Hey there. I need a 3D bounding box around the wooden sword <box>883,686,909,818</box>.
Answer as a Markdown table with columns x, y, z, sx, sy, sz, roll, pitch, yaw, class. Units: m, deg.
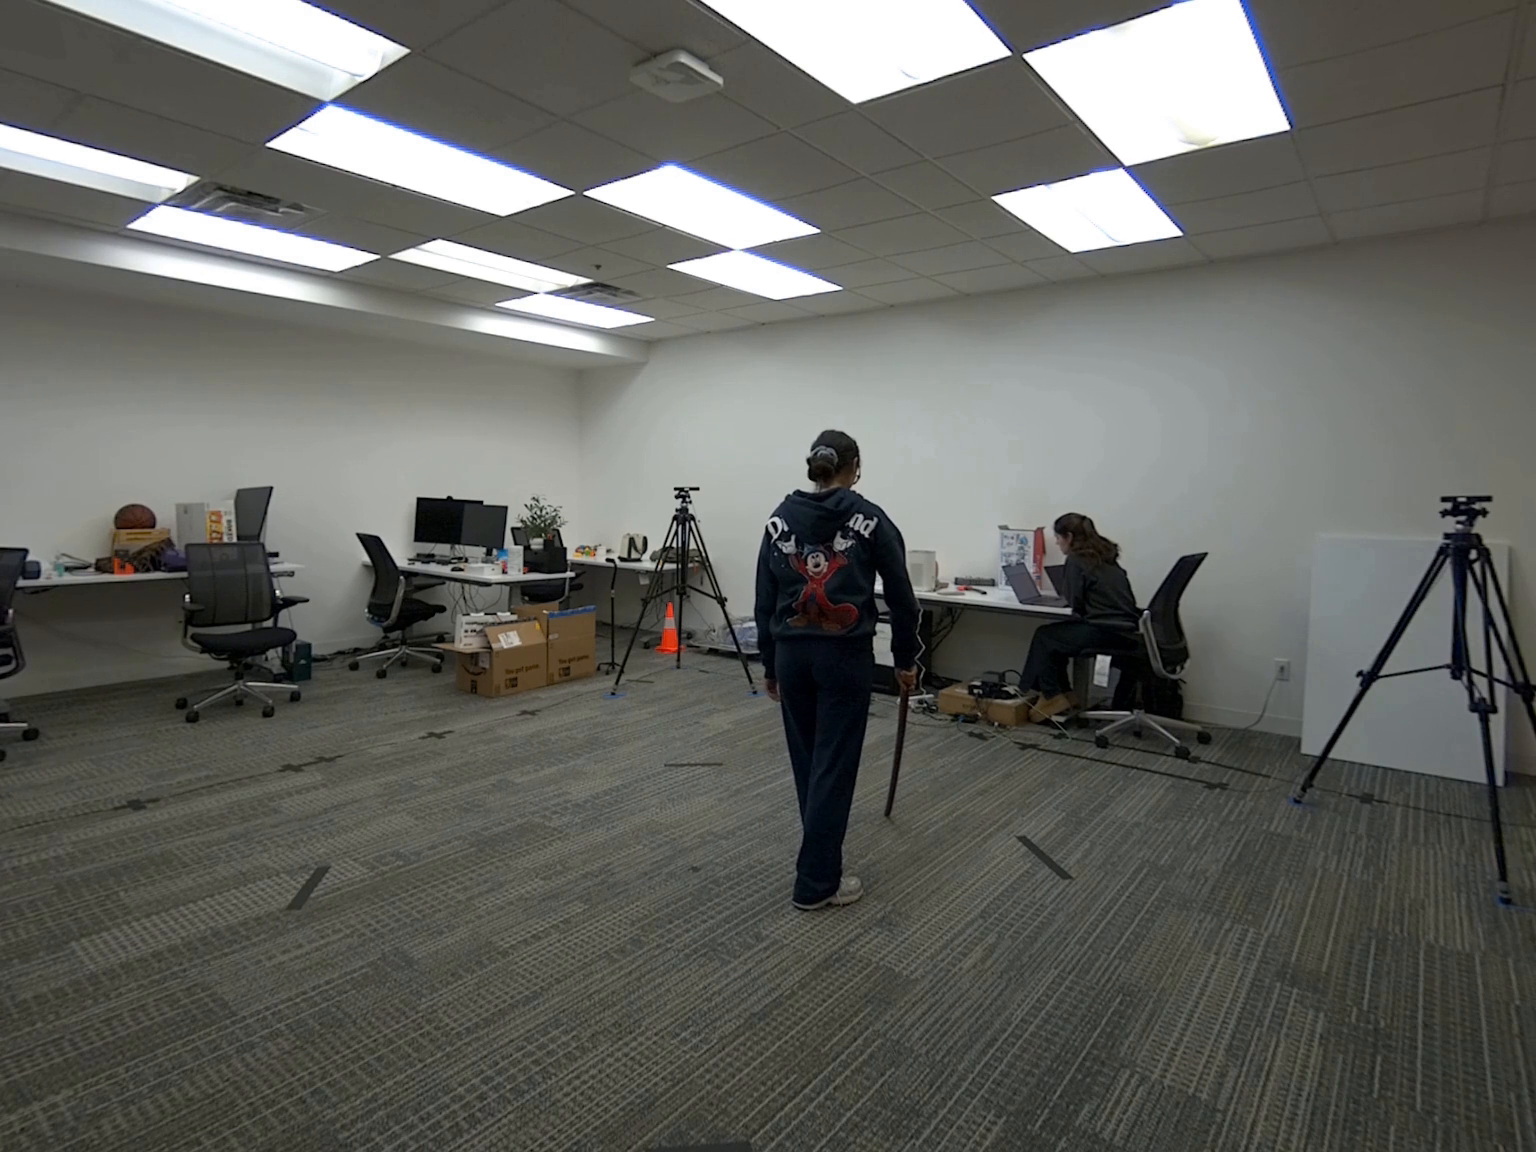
| x | y | z | sx | sy | sz | roll | pitch | yaw | class |
| --- | --- | --- | --- | --- | --- | --- | --- | --- | --- |
| 0.484 | 0.683 | 3.308 | 0.024 | 0.993 | 0.053 | -4 | 47 | -1 | wooden sword |
